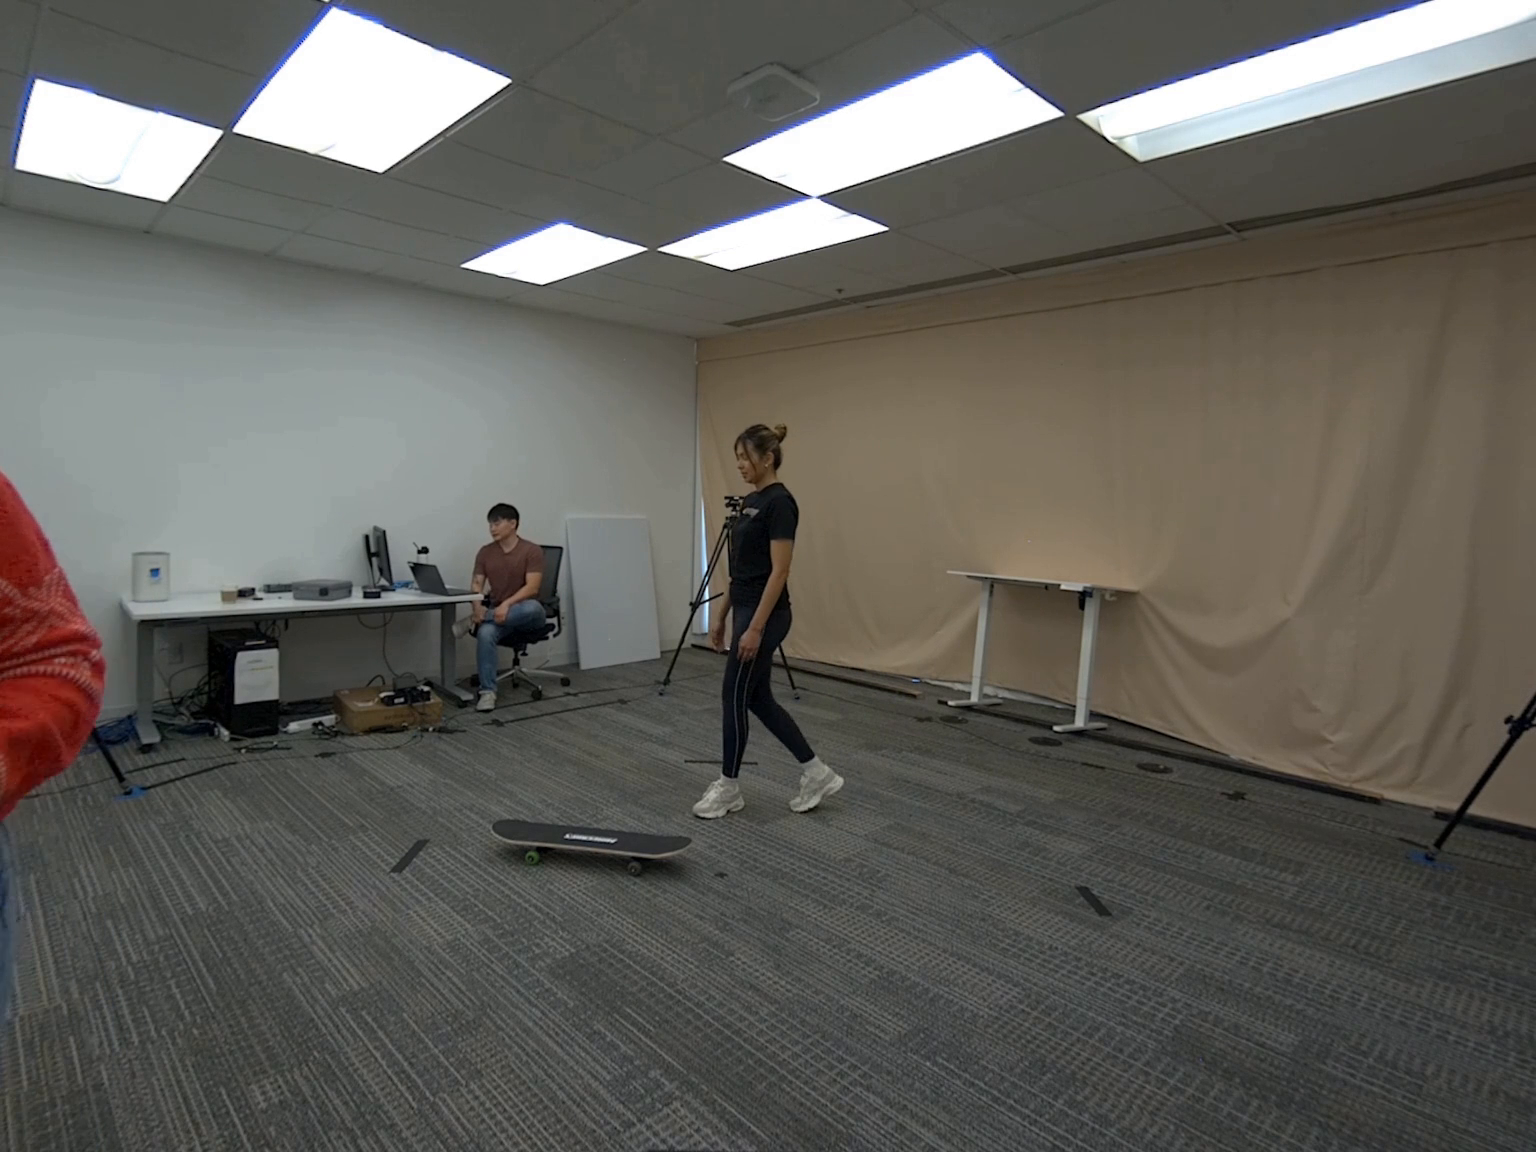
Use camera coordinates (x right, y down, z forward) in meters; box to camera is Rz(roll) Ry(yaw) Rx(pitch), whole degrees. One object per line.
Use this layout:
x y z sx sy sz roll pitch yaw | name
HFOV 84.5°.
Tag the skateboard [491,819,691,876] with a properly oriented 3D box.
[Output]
-0.686 1.027 3.192 0.792 0.110 0.192 3 5 10 | skateboard
